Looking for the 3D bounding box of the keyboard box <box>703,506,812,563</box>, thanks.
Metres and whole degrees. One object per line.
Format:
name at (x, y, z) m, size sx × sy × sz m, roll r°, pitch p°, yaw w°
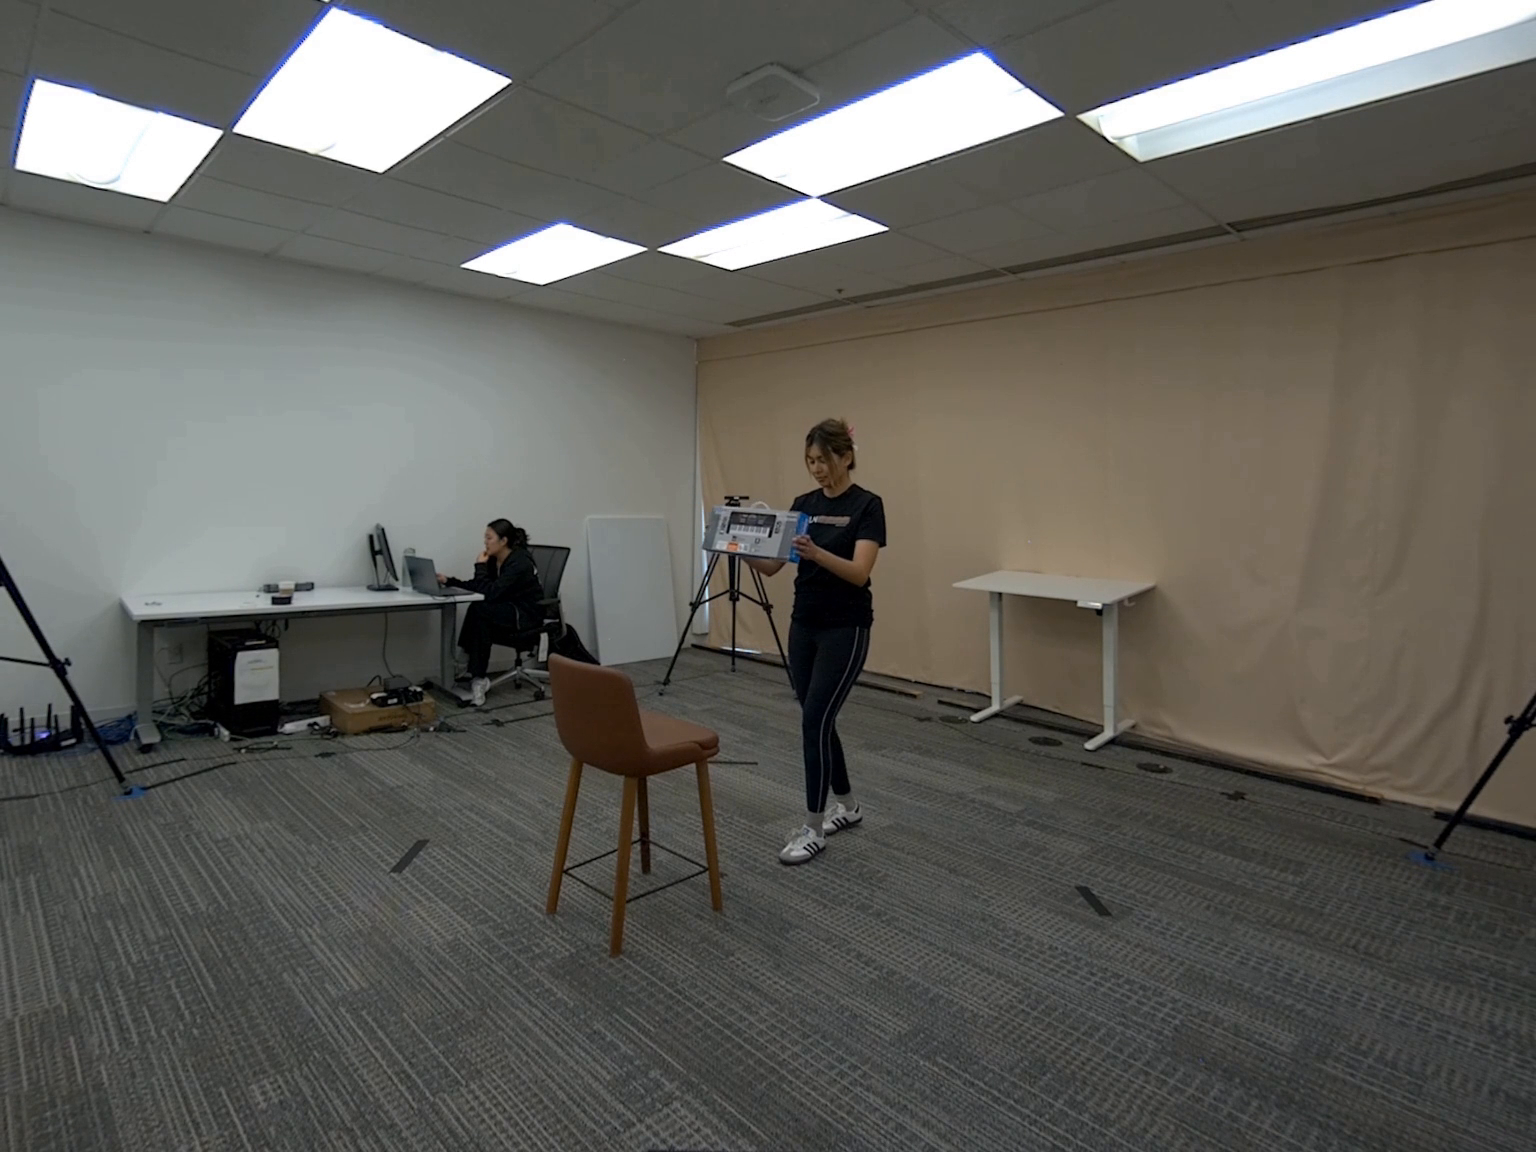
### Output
keyboard box at (-0.056, -0.151, 3.052) m, size 0.448 × 0.176 × 0.057 m, roll 8°, pitch -9°, yaw 43°
